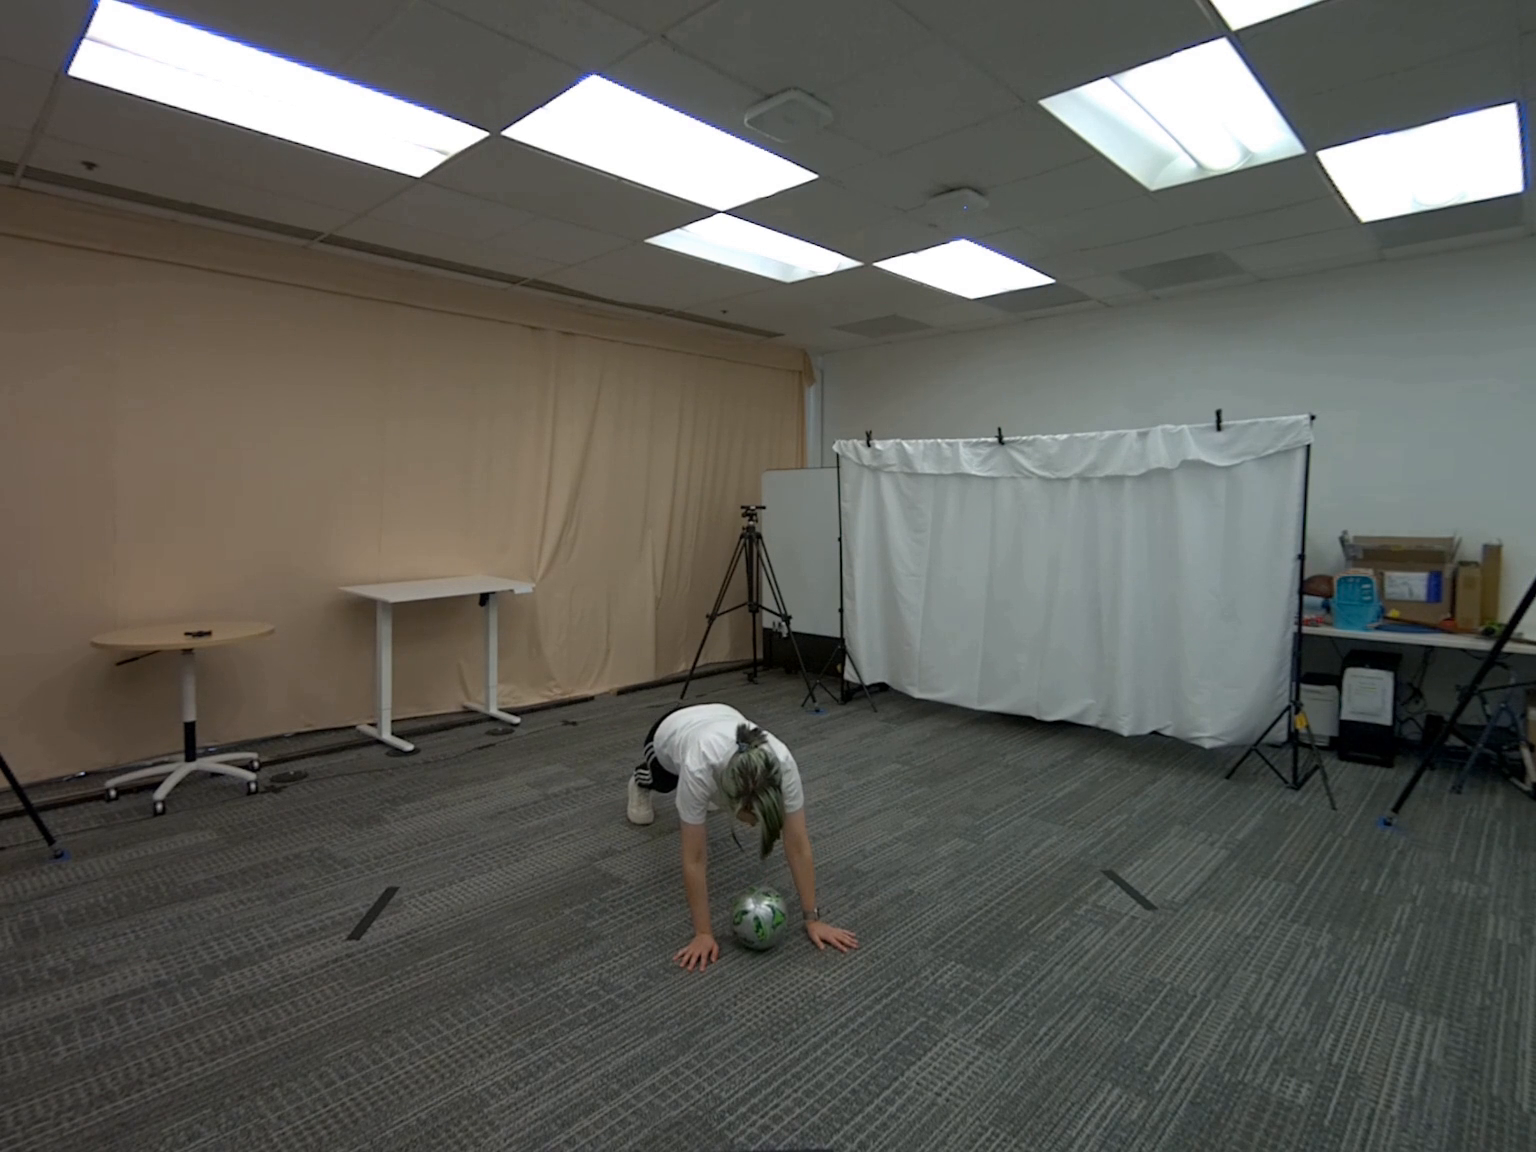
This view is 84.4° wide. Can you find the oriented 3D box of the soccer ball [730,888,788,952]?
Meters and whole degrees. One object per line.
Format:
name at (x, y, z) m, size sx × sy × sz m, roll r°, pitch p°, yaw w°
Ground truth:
soccer ball at (-0.028, 1.076, 2.662) m, size 0.187 × 0.187 × 0.188 m, roll 0°, pitch 4°, yaw -2°
